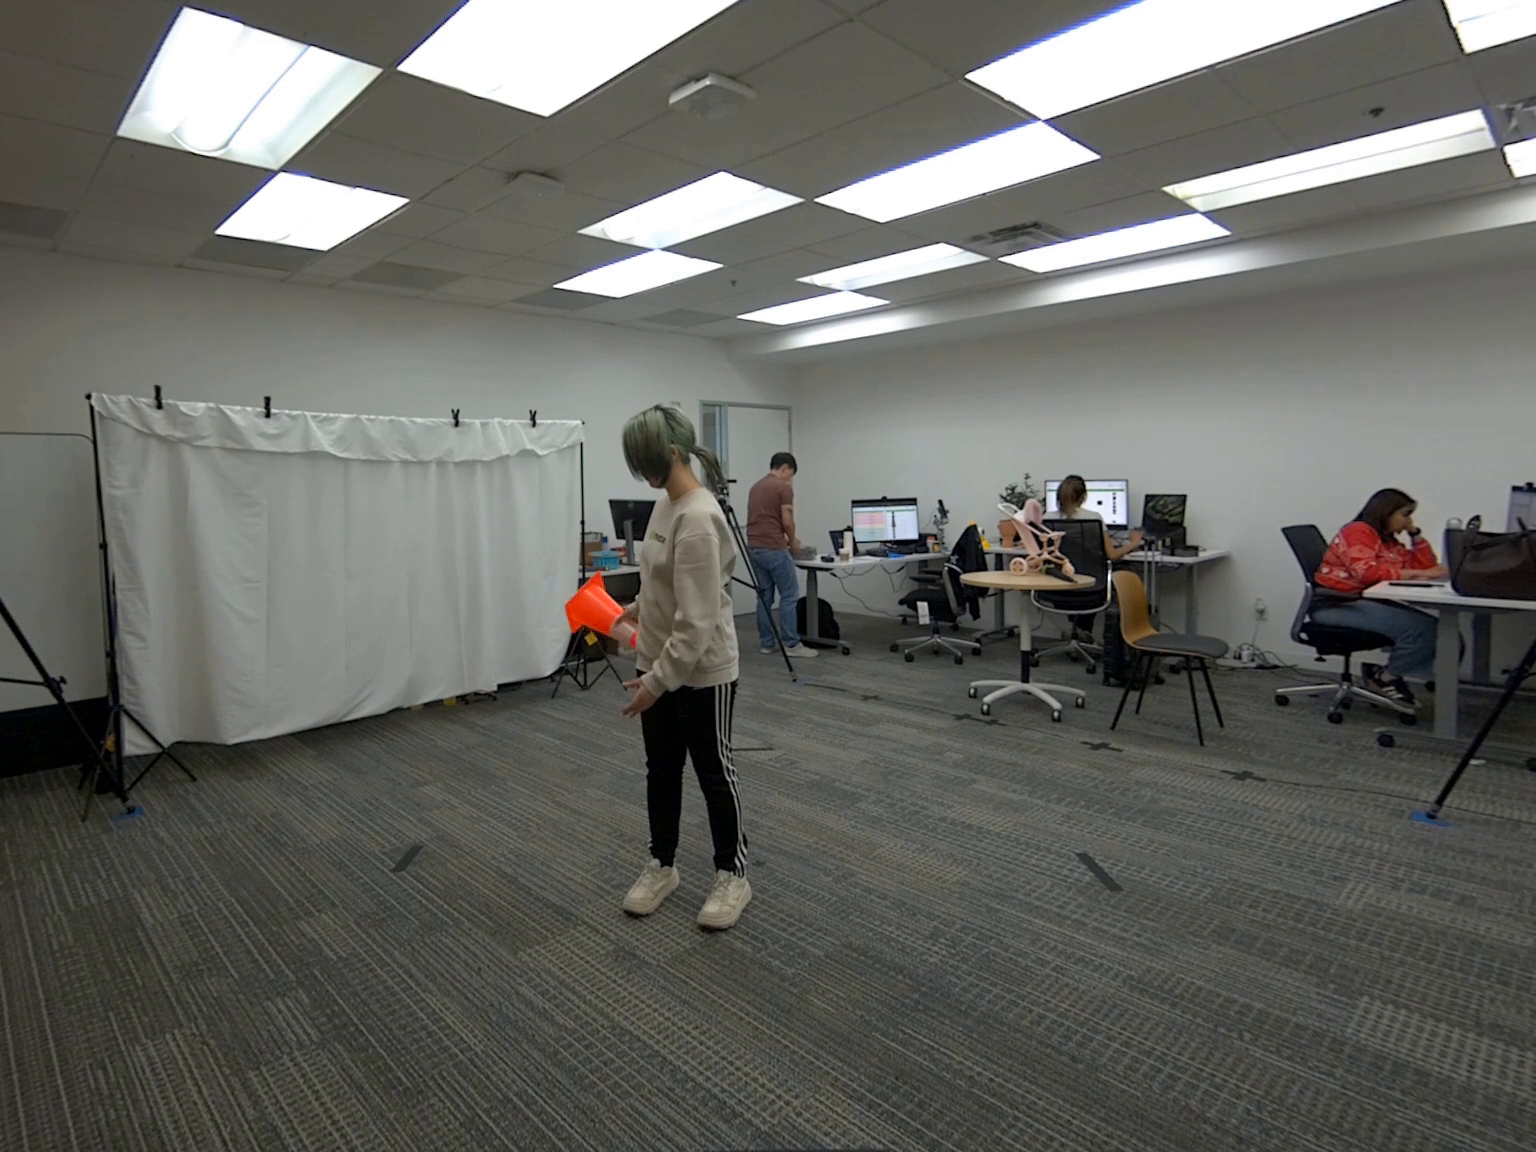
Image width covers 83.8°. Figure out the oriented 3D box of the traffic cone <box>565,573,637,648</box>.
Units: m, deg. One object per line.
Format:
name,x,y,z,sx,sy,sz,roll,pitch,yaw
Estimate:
traffic cone,-0.536,0.199,3.174,0.395,0.199,0.203,31,58,23
